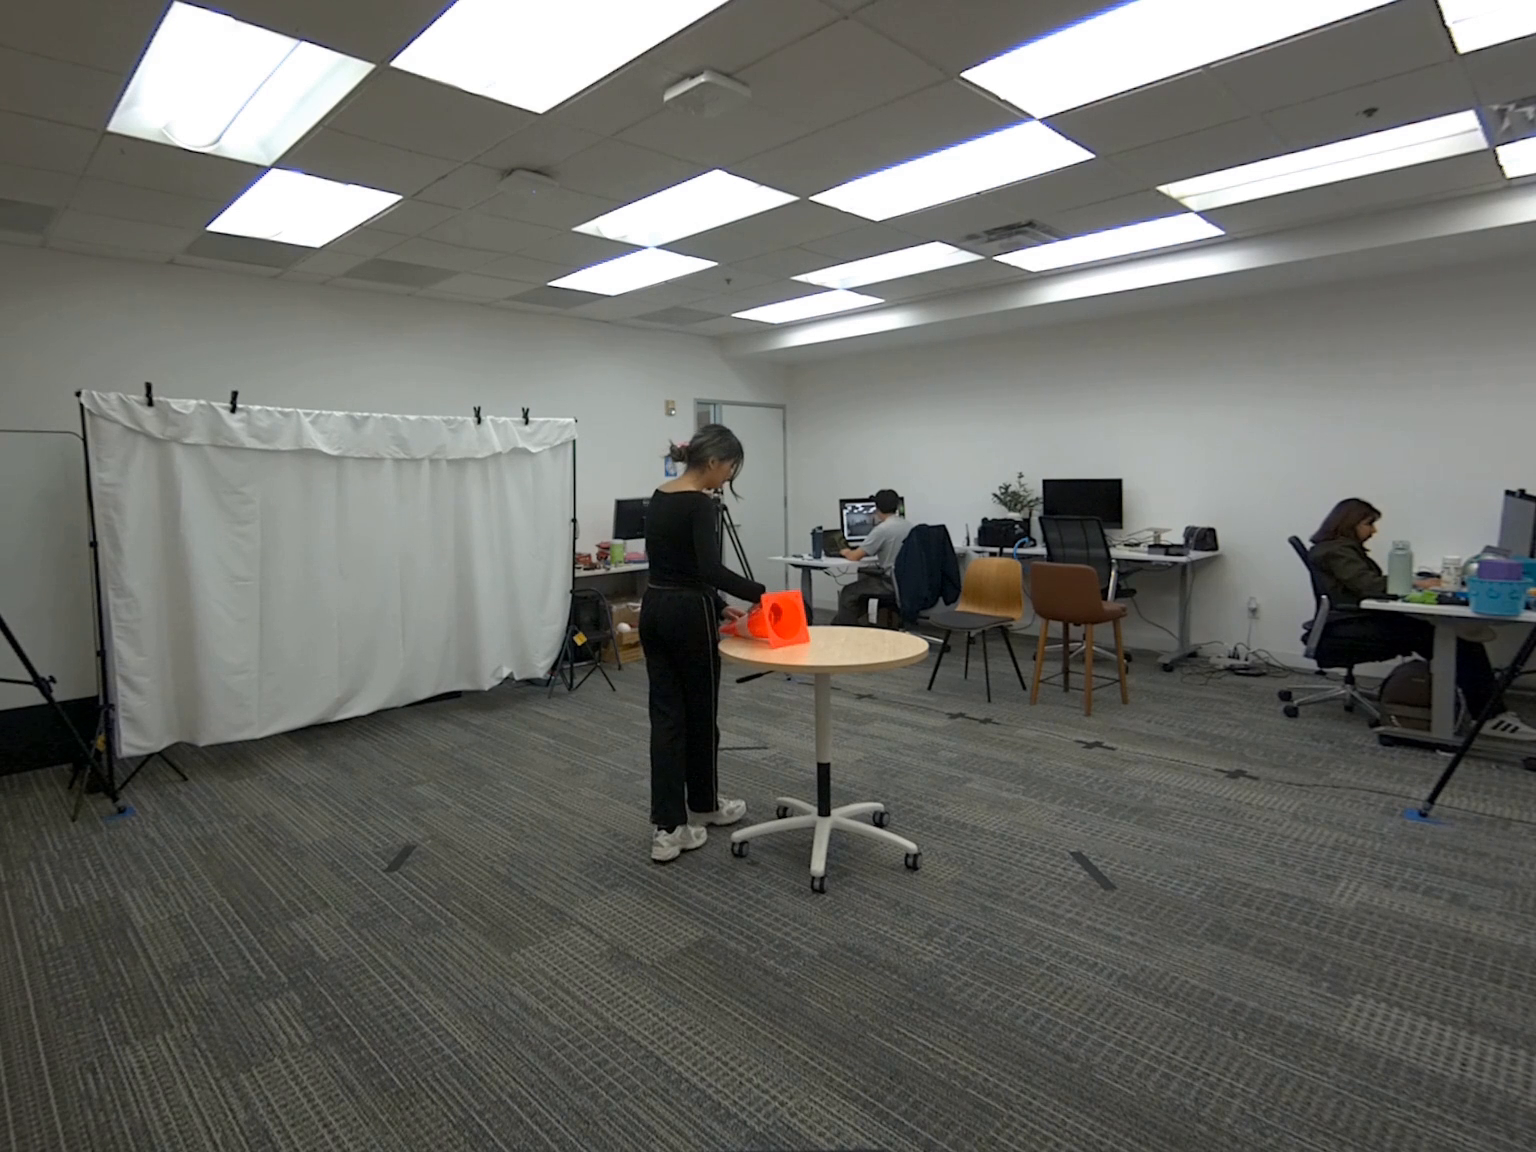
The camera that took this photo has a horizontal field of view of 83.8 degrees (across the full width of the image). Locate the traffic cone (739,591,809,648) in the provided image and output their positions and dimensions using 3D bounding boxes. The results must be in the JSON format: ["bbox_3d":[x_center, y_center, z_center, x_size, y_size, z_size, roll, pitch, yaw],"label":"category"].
[{"bbox_3d":[-0.057,0.184,3.270,0.198,0.206,0.391,-4,-7,-41],"label":"traffic cone"}]
